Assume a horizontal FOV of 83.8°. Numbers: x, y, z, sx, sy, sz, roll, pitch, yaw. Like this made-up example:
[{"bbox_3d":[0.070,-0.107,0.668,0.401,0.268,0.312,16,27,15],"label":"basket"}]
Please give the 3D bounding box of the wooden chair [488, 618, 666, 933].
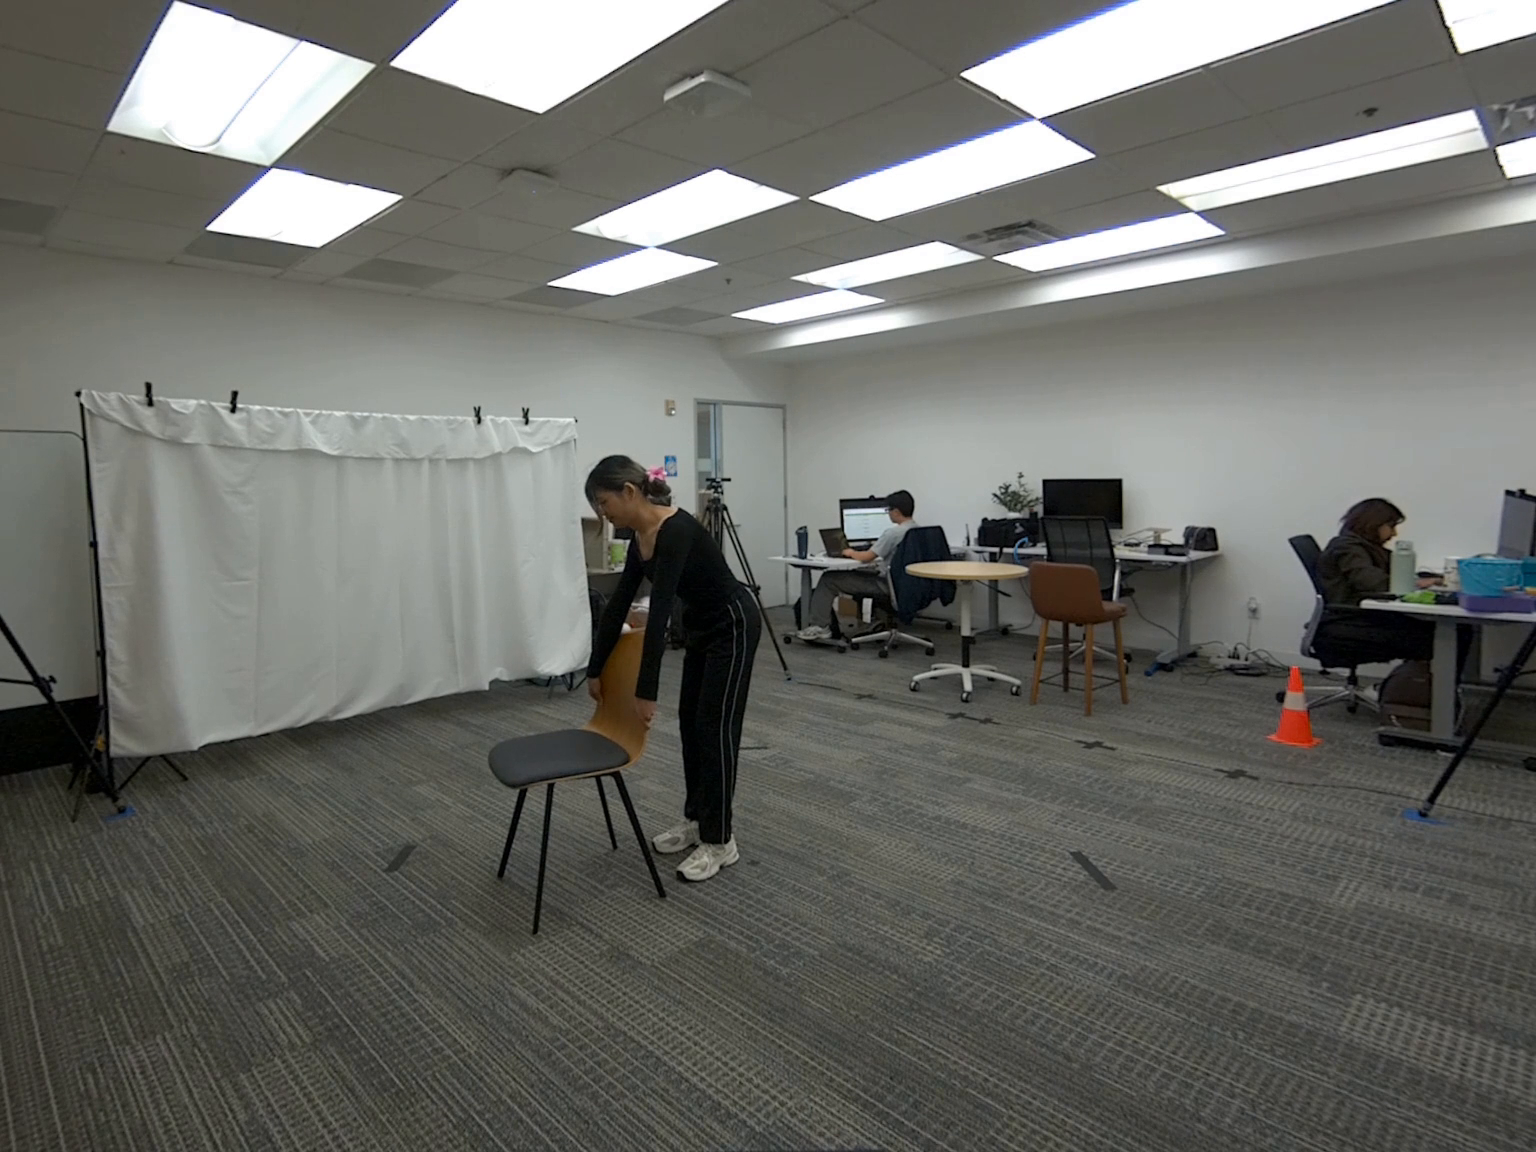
[{"bbox_3d":[-0.662,0.649,2.901,0.510,0.876,0.491,1,2,-30],"label":"wooden chair"}]
